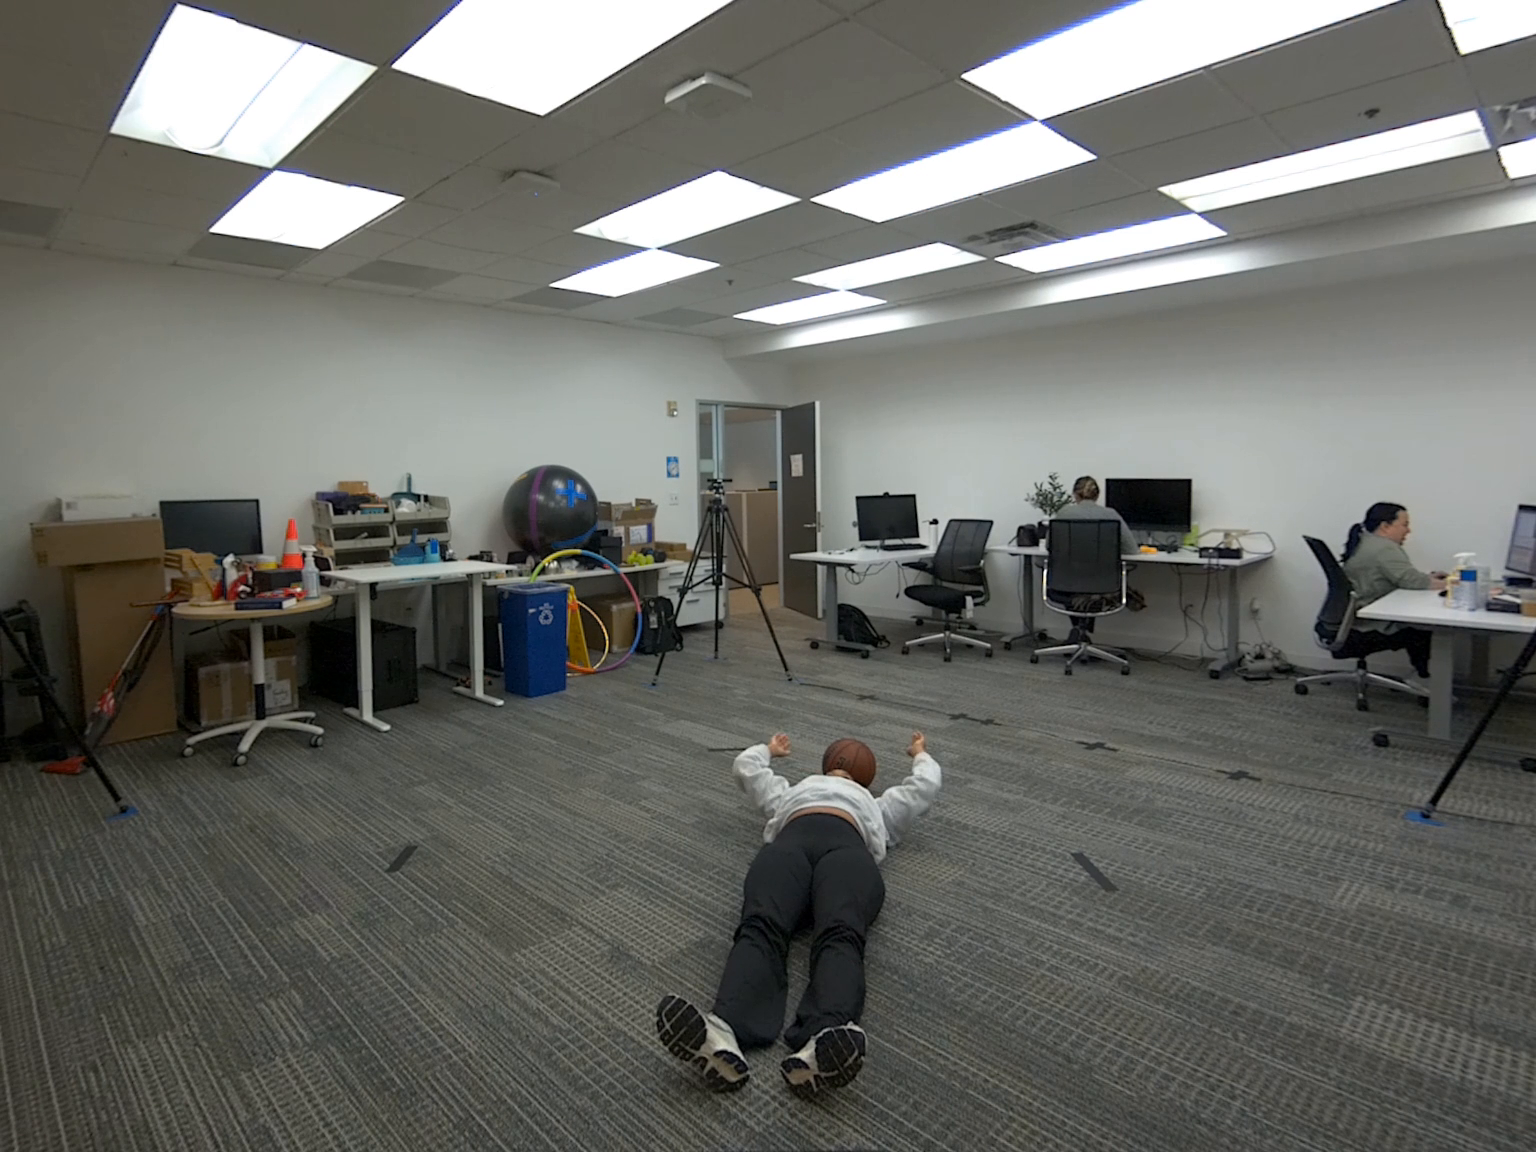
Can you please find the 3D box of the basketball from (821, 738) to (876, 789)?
[{"bbox_3d":[0.363,0.843,3.791,0.236,0.235,0.237,-1,4,-2],"label":"basketball"}]
